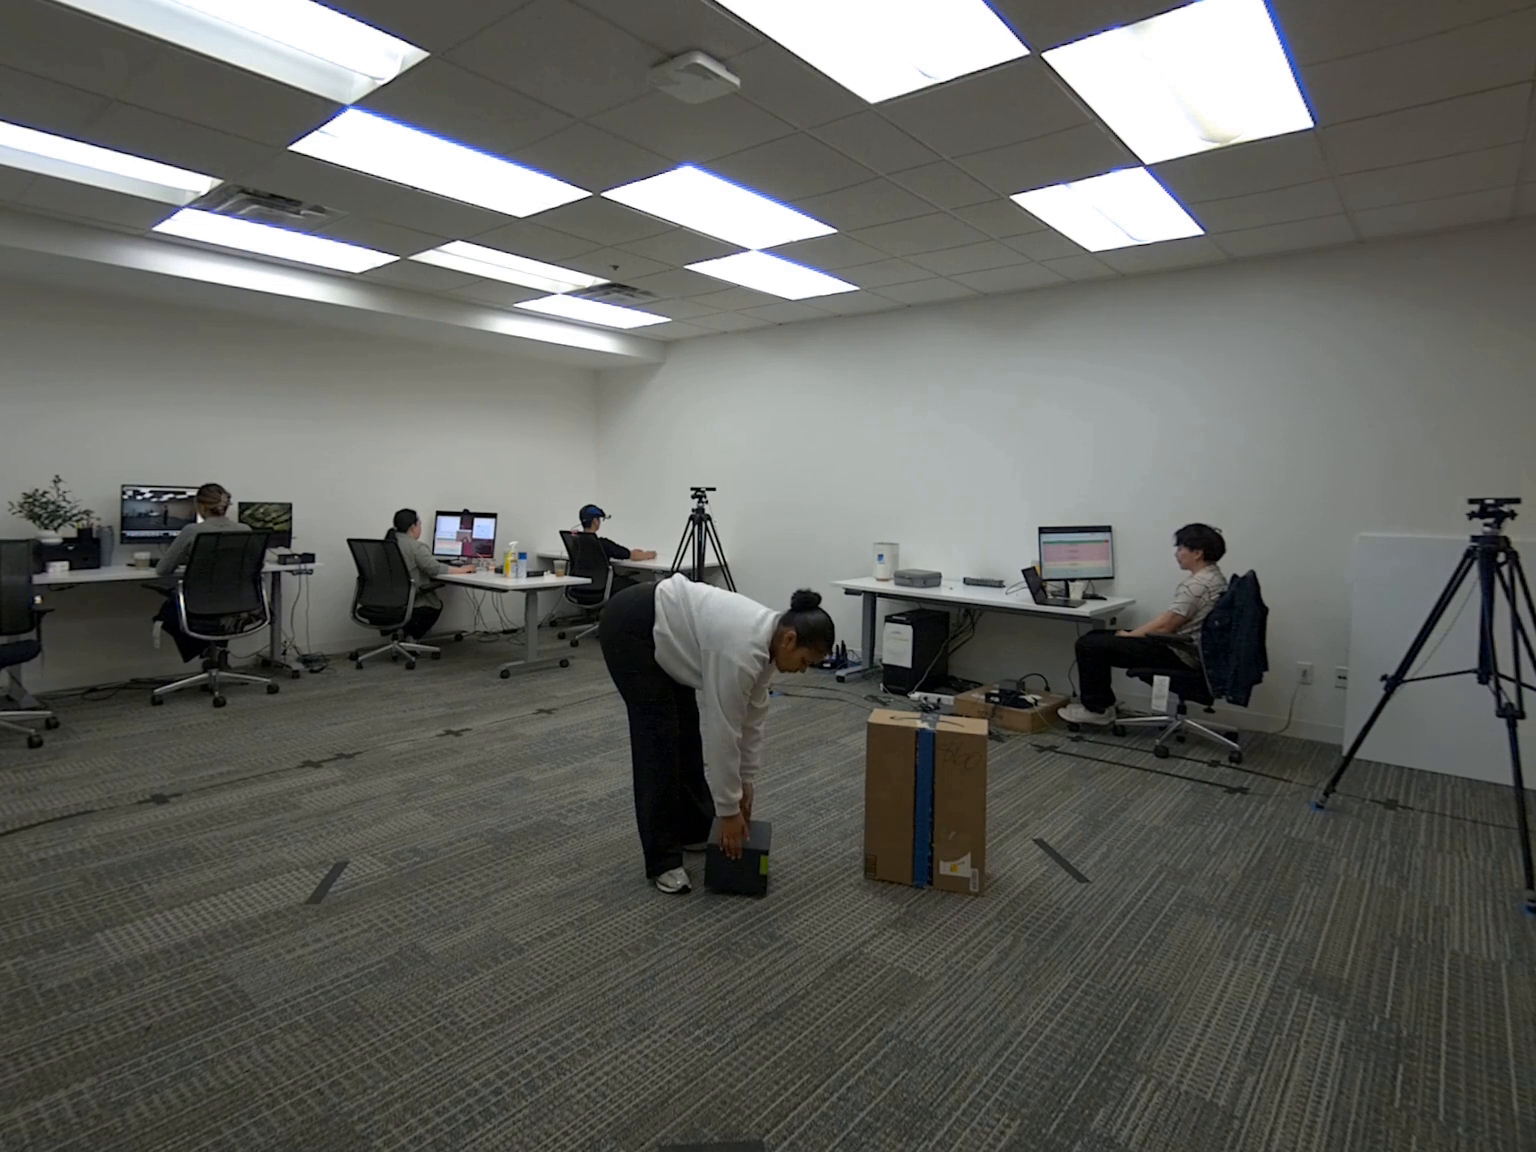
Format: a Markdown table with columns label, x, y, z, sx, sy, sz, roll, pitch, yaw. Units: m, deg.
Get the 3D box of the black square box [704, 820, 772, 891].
| label | x | y | z | sx | sy | sz | roll | pitch | yaw |
| --- | --- | --- | --- | --- | --- | --- | --- | --- | --- |
| black square box | -0.105 | 0.953 | 3.003 | 0.218 | 0.155 | 0.228 | 3 | 7 | 5 |
